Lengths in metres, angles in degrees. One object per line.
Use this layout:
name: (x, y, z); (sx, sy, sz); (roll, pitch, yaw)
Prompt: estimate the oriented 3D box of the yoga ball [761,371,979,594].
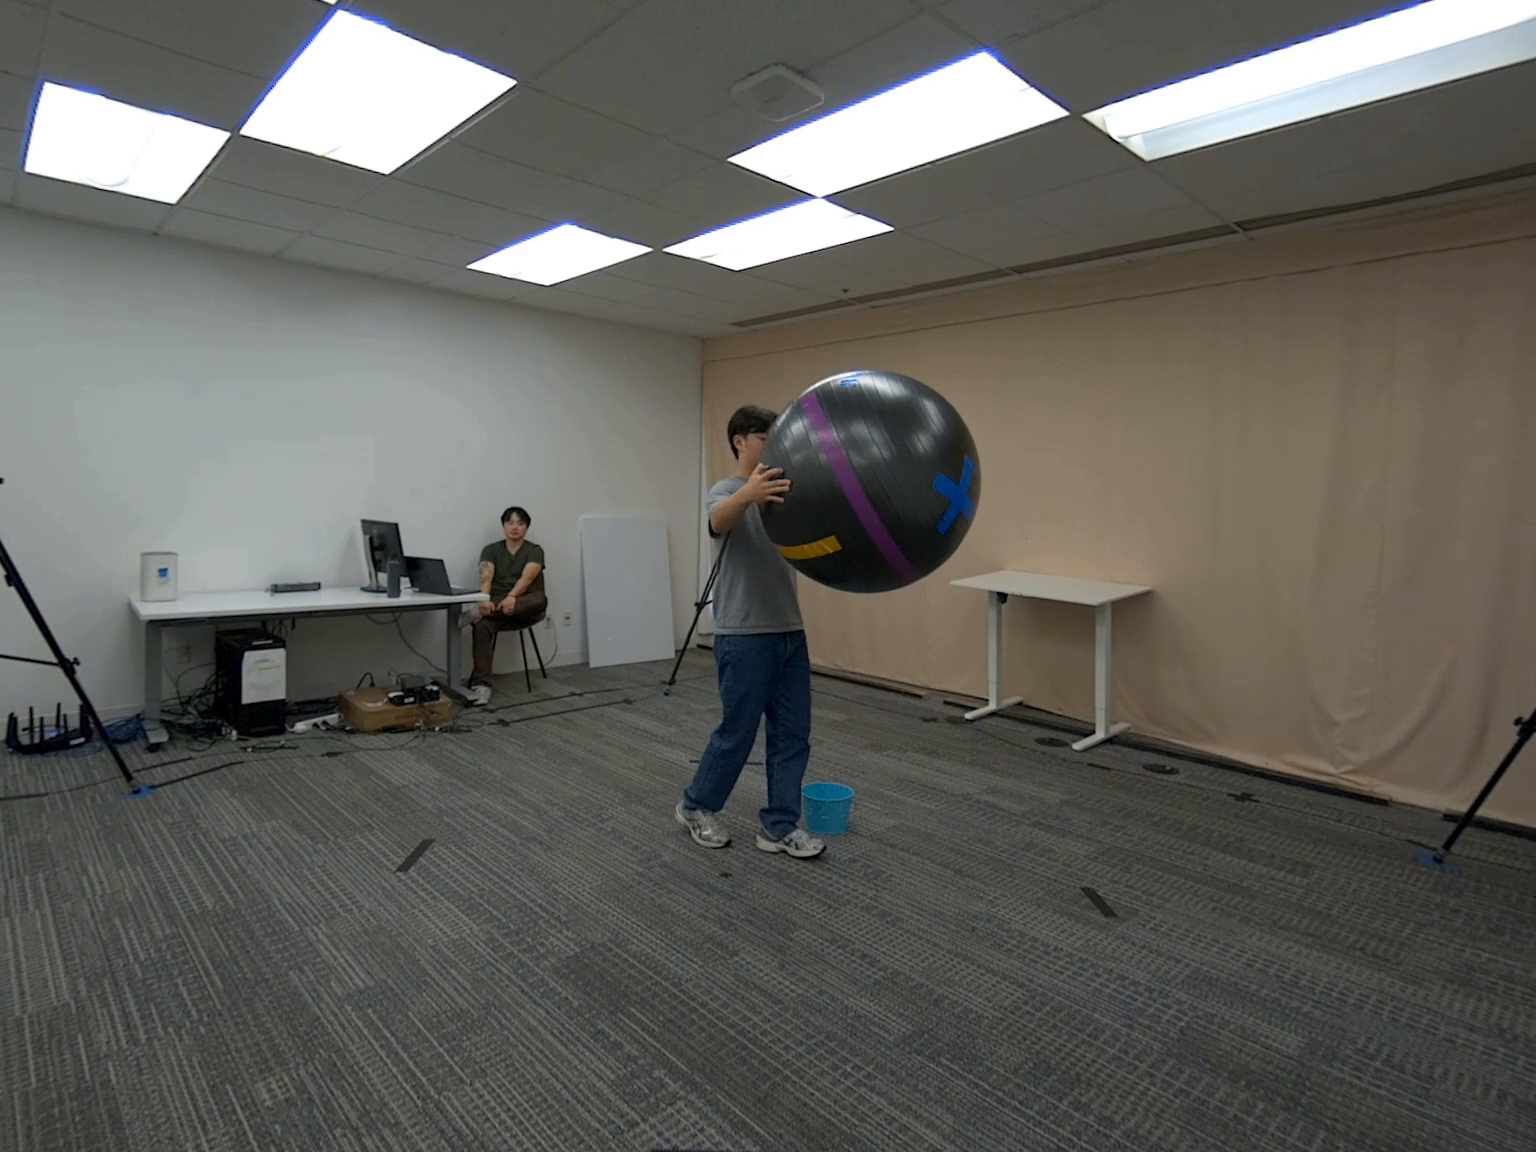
yoga ball: (0.335, -0.314, 2.887); (0.757, 0.756, 0.761); (1, 4, -1)
